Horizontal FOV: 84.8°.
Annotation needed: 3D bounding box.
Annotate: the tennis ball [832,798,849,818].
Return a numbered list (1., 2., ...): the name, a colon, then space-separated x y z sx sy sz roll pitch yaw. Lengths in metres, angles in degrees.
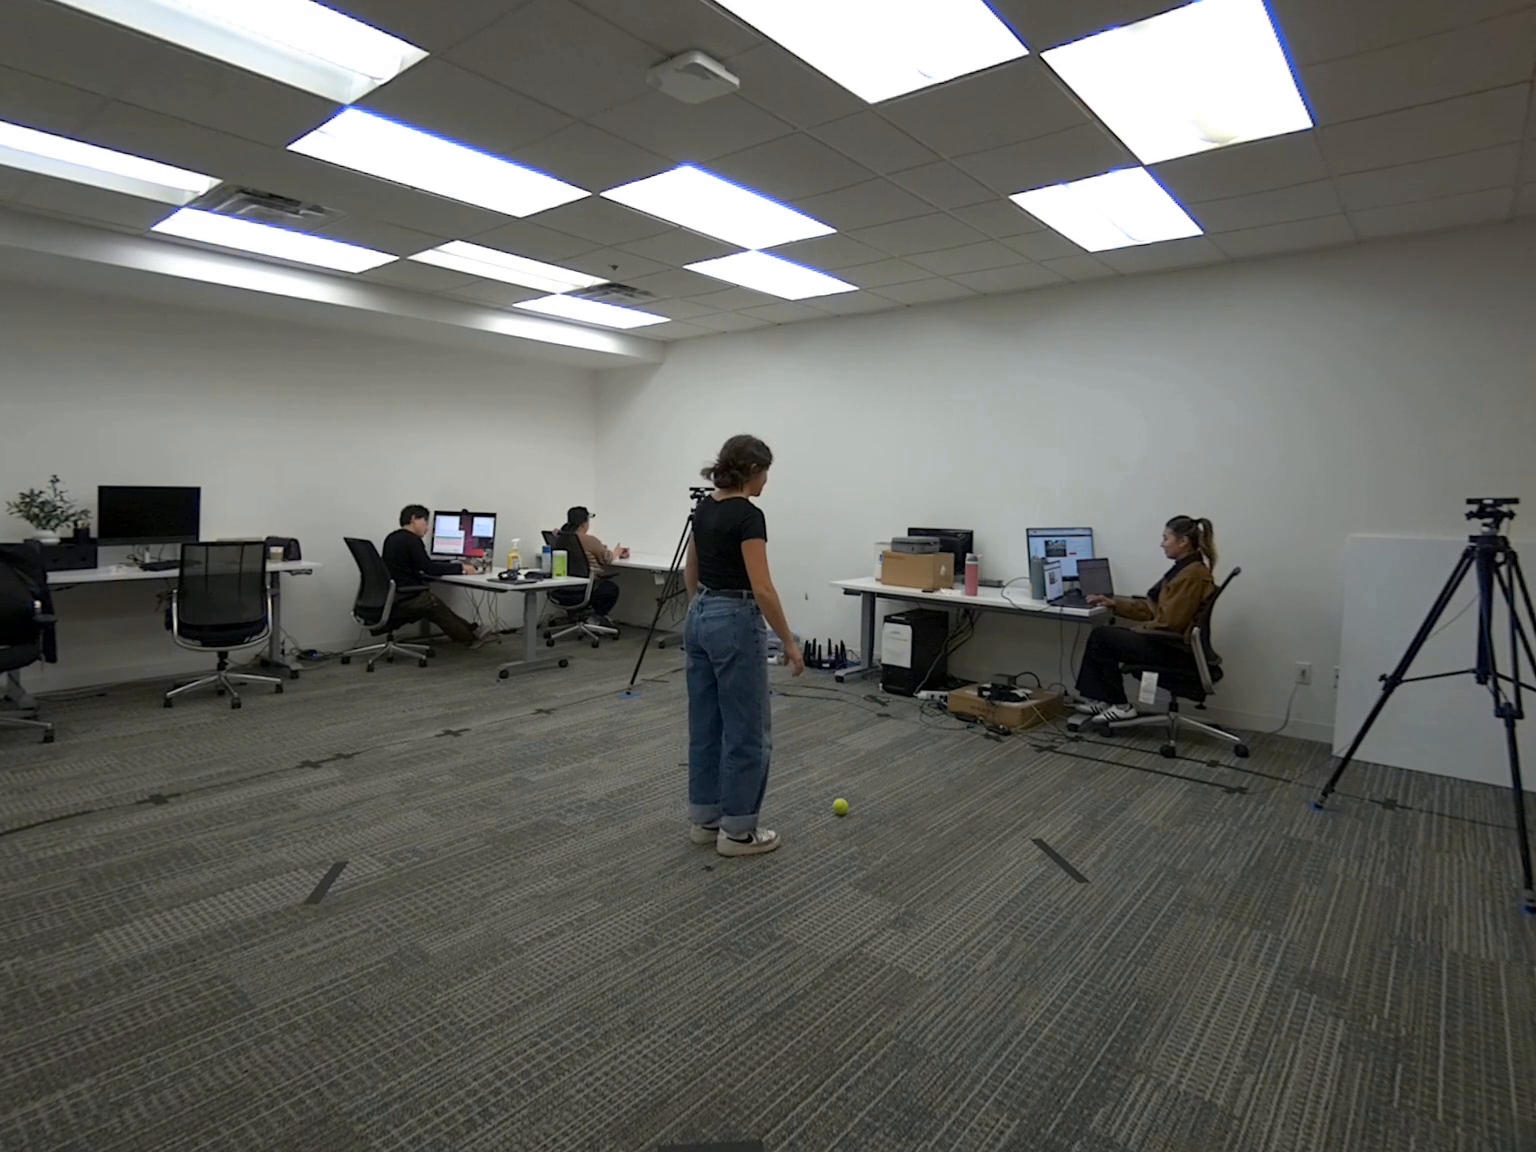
1. tennis ball: 0.306 0.985 3.656 0.066 0.066 0.067 1 4 -2
